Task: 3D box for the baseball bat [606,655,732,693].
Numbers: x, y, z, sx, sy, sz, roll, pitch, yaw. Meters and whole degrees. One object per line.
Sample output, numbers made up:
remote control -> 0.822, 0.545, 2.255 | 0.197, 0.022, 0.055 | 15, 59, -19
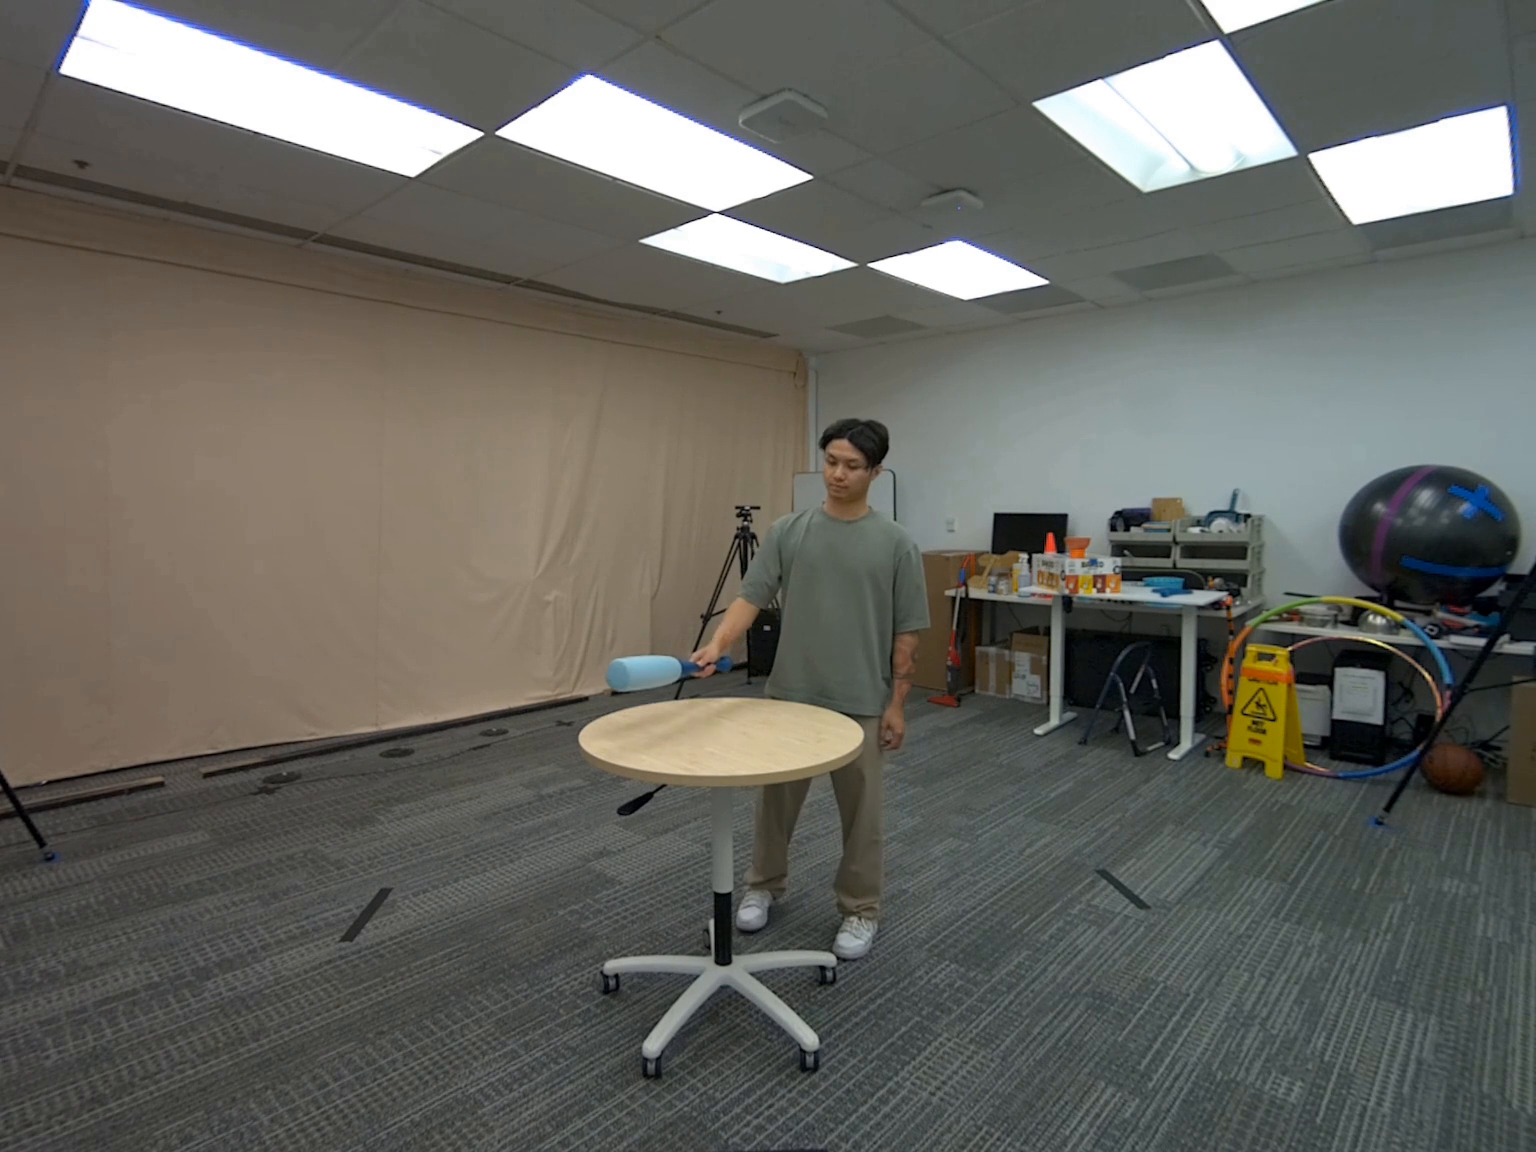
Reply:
baseball bat -> -0.267, 0.272, 2.387 | 0.091, 0.089, 0.527 | 2, -2, 27
